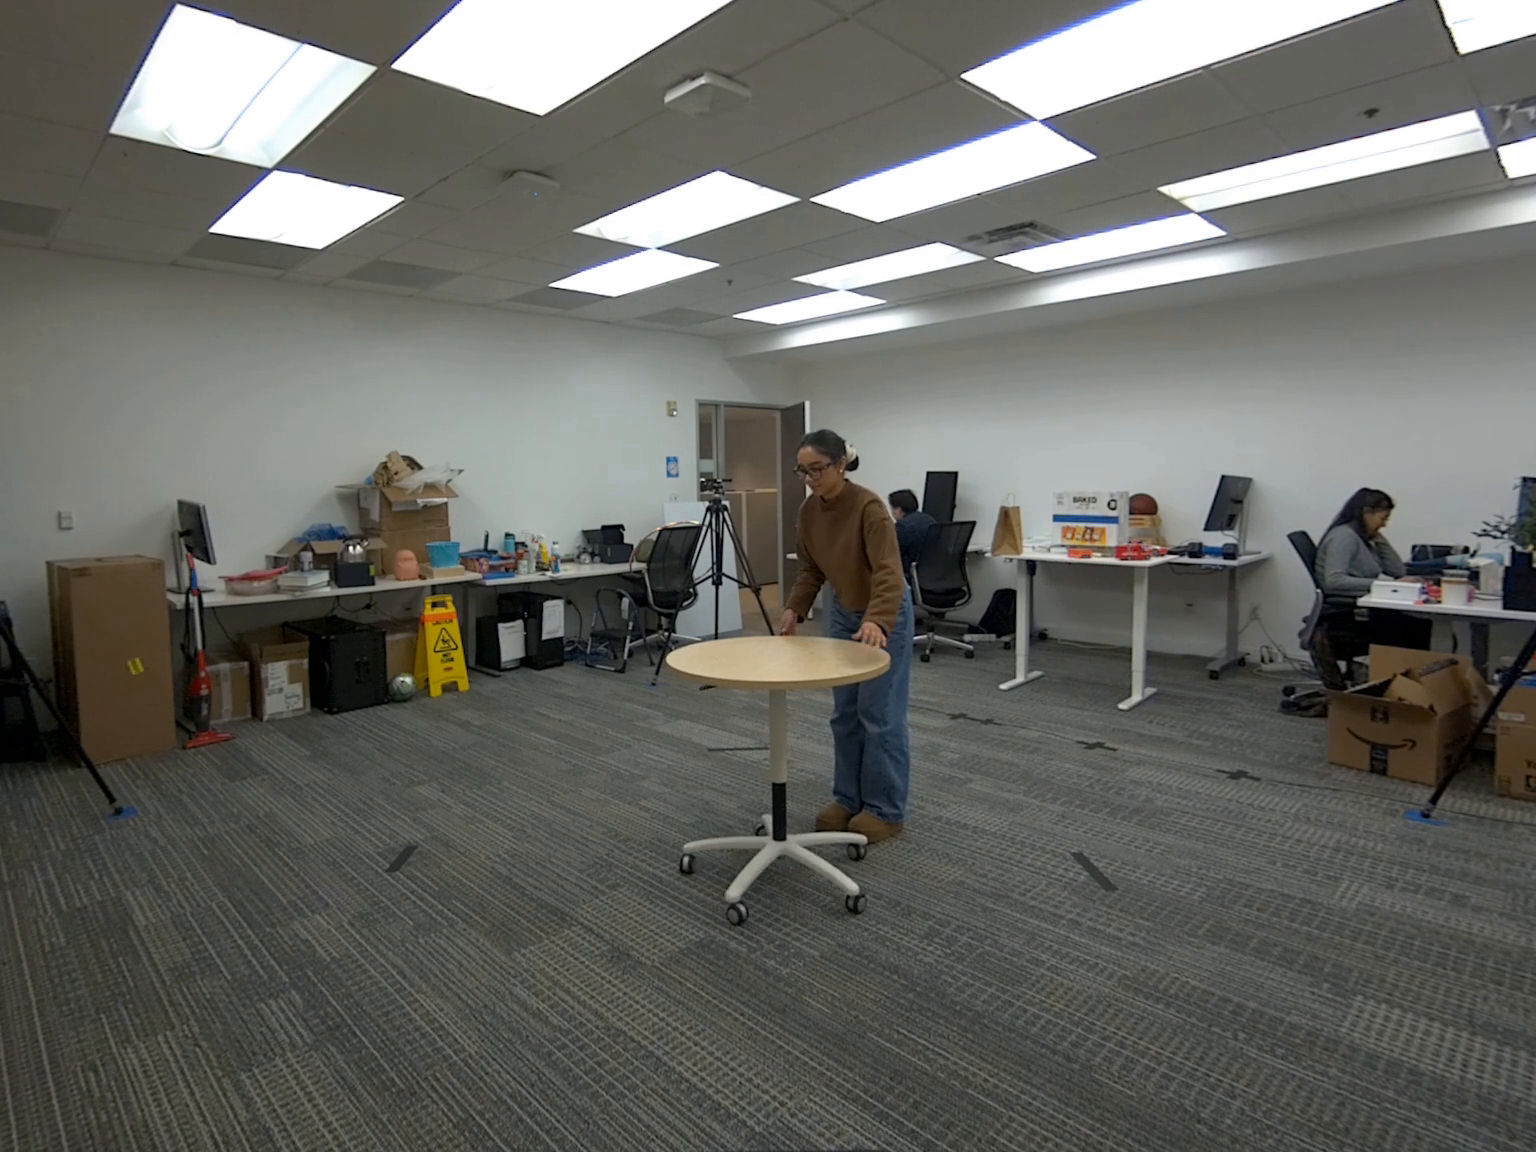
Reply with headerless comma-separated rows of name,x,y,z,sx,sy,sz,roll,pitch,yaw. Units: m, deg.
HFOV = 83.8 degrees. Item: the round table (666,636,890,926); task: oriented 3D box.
round table,0.043,0.668,2.962,0.763,0.791,0.768,-1,5,-2
